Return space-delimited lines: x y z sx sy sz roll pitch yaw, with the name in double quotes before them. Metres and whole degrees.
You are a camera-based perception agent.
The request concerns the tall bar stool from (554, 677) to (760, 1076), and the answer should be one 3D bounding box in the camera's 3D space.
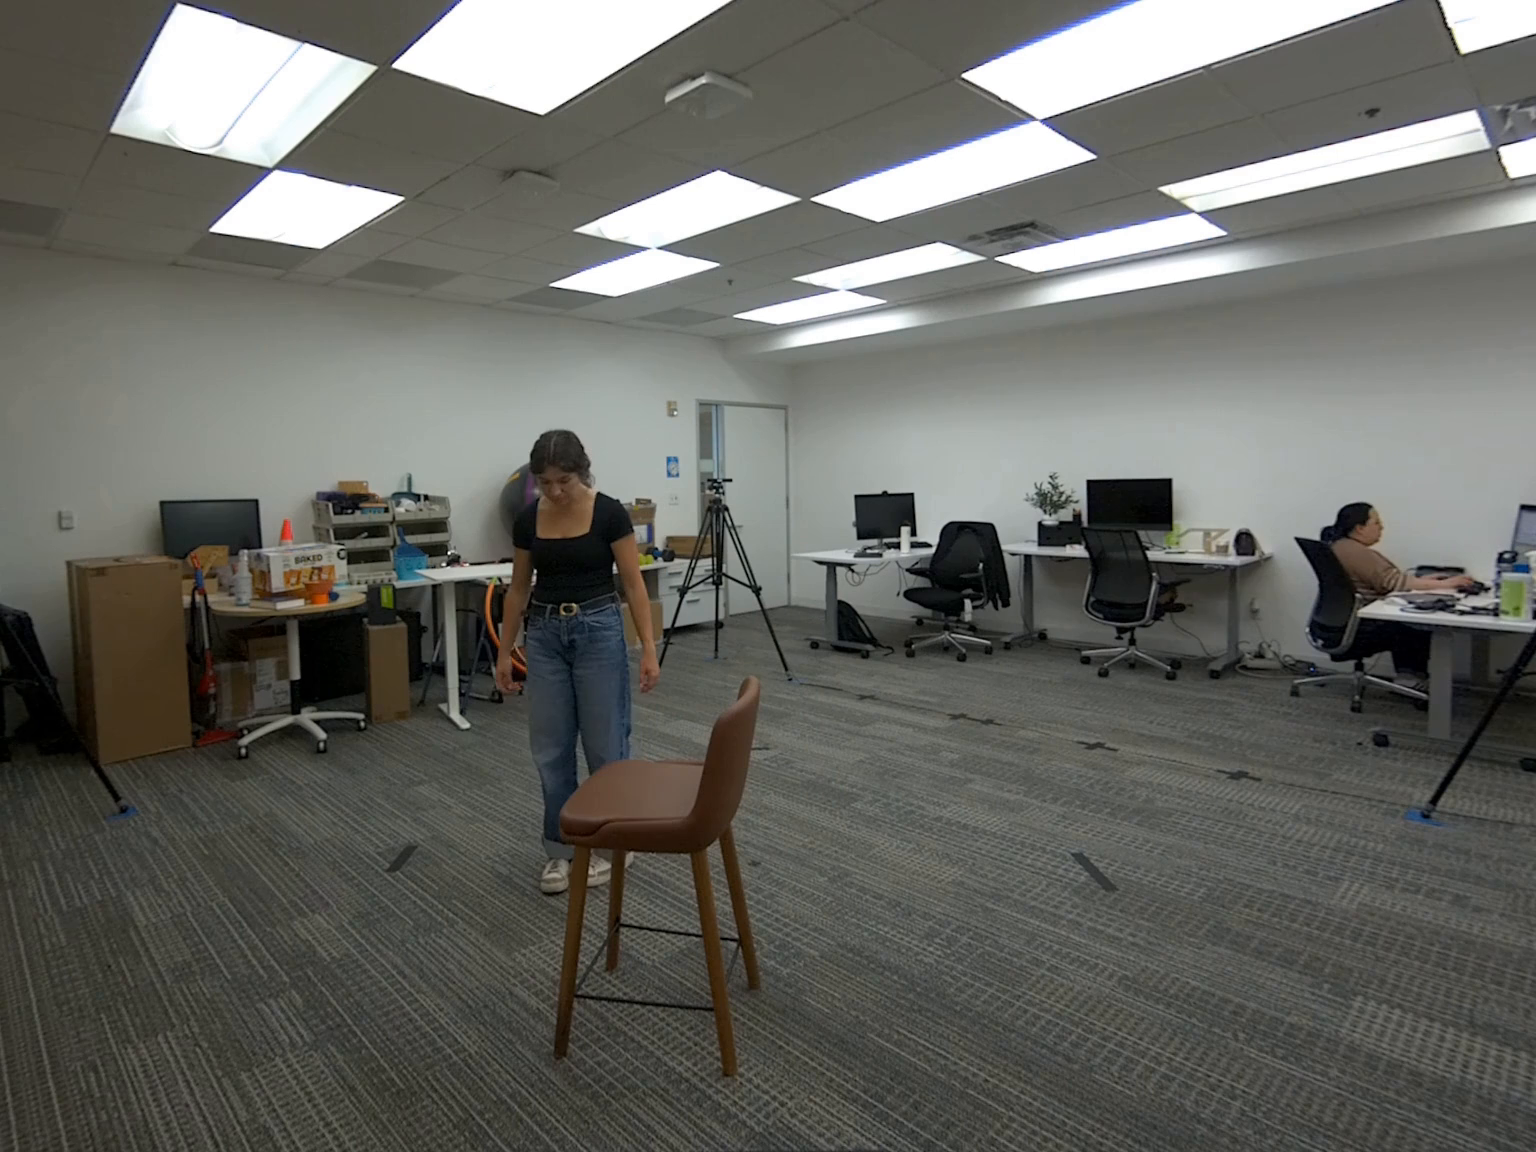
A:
"tall bar stool" -0.268 0.722 2.195 0.473 0.886 0.453 1 5 11
